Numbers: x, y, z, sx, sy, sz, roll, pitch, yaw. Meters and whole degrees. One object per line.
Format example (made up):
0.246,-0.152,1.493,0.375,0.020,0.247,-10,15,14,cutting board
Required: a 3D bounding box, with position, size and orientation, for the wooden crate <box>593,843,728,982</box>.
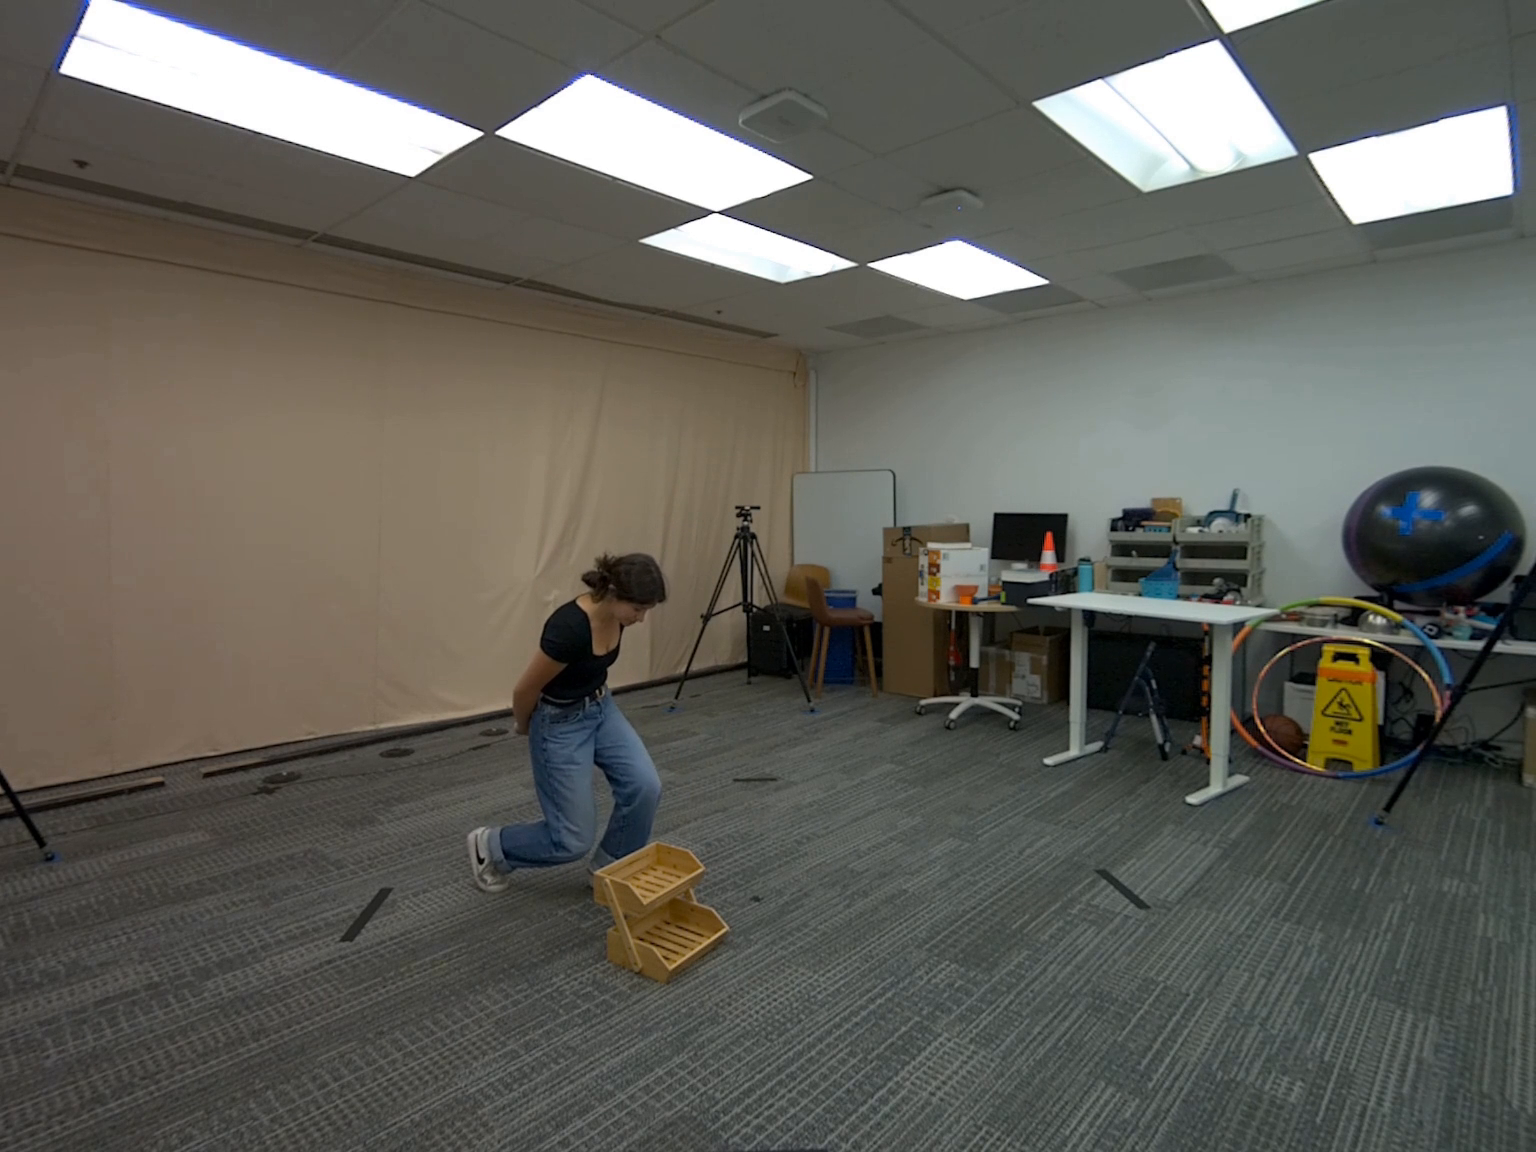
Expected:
-0.327,1.045,2.639,0.311,0.273,0.315,2,4,34,wooden crate
